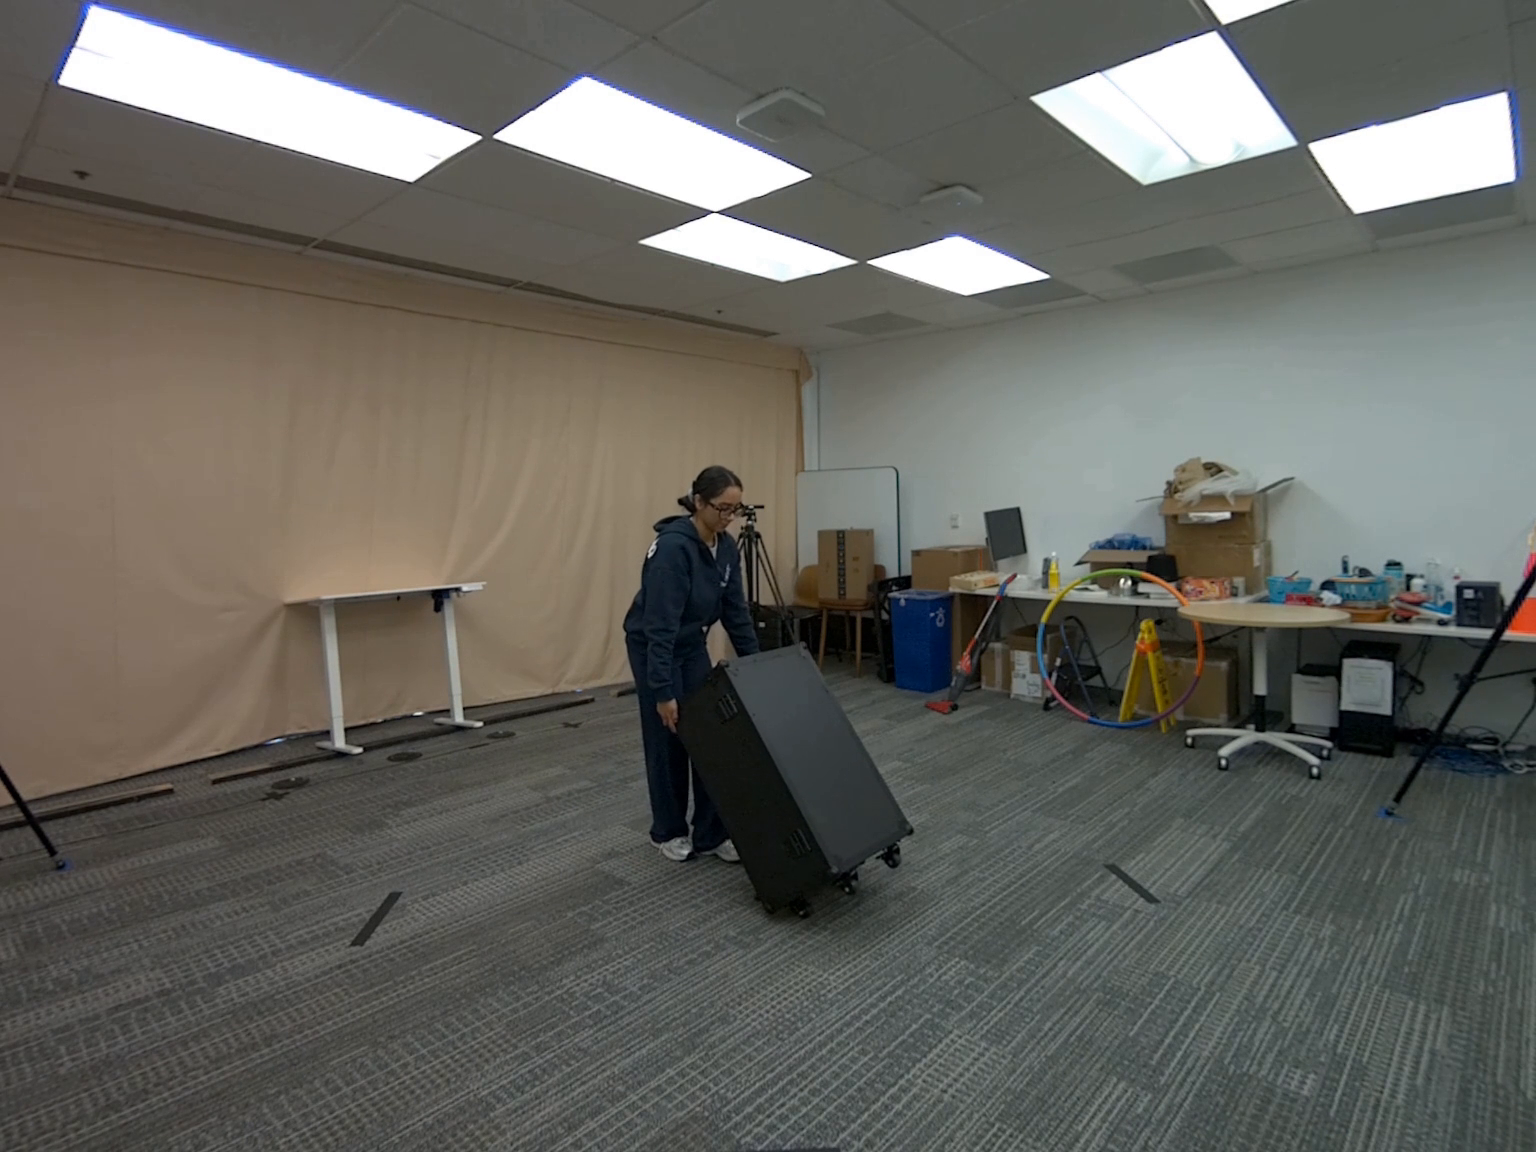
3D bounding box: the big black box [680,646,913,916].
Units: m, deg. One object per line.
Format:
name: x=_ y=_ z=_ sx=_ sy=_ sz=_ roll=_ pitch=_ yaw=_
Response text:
big black box: x=0.082 y=0.733 z=3.021 sx=0.505 sy=0.881 sz=0.399 roll=-5 pitch=-33 yaw=-49
